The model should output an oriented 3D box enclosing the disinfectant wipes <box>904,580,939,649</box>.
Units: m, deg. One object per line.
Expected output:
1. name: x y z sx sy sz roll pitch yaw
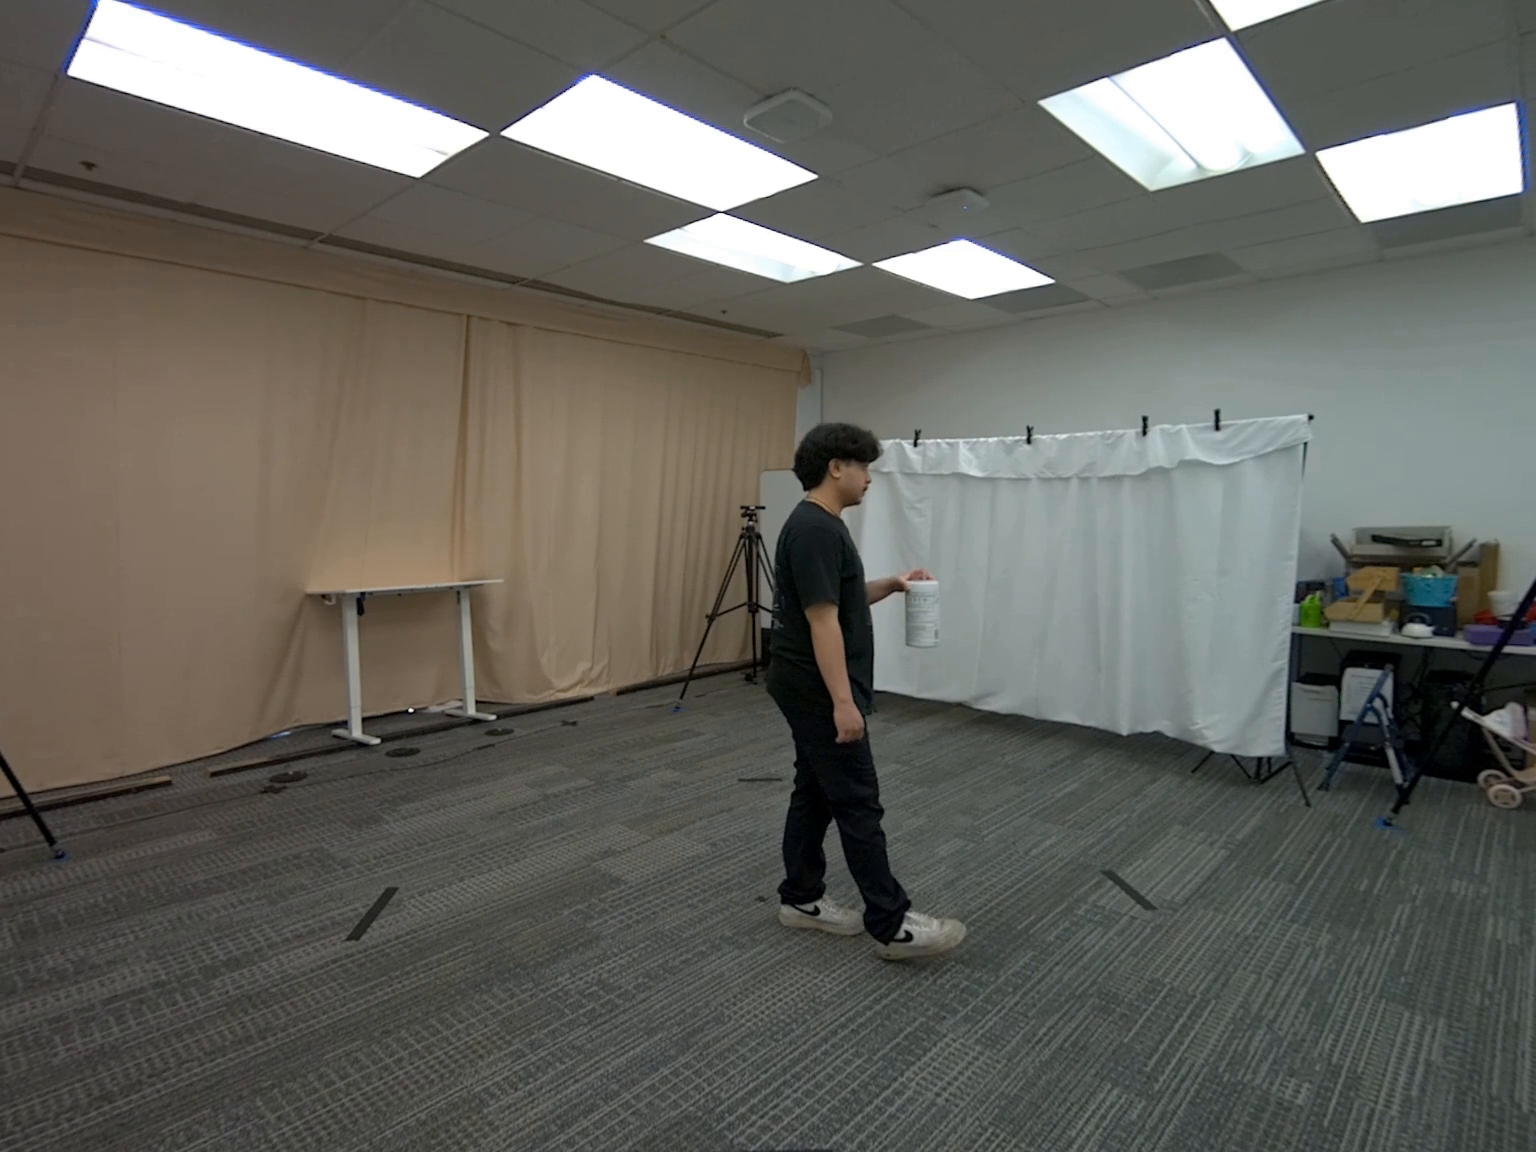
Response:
1. disinfectant wipes: 0.518 0.128 2.766 0.118 0.217 0.118 -1 4 -2
